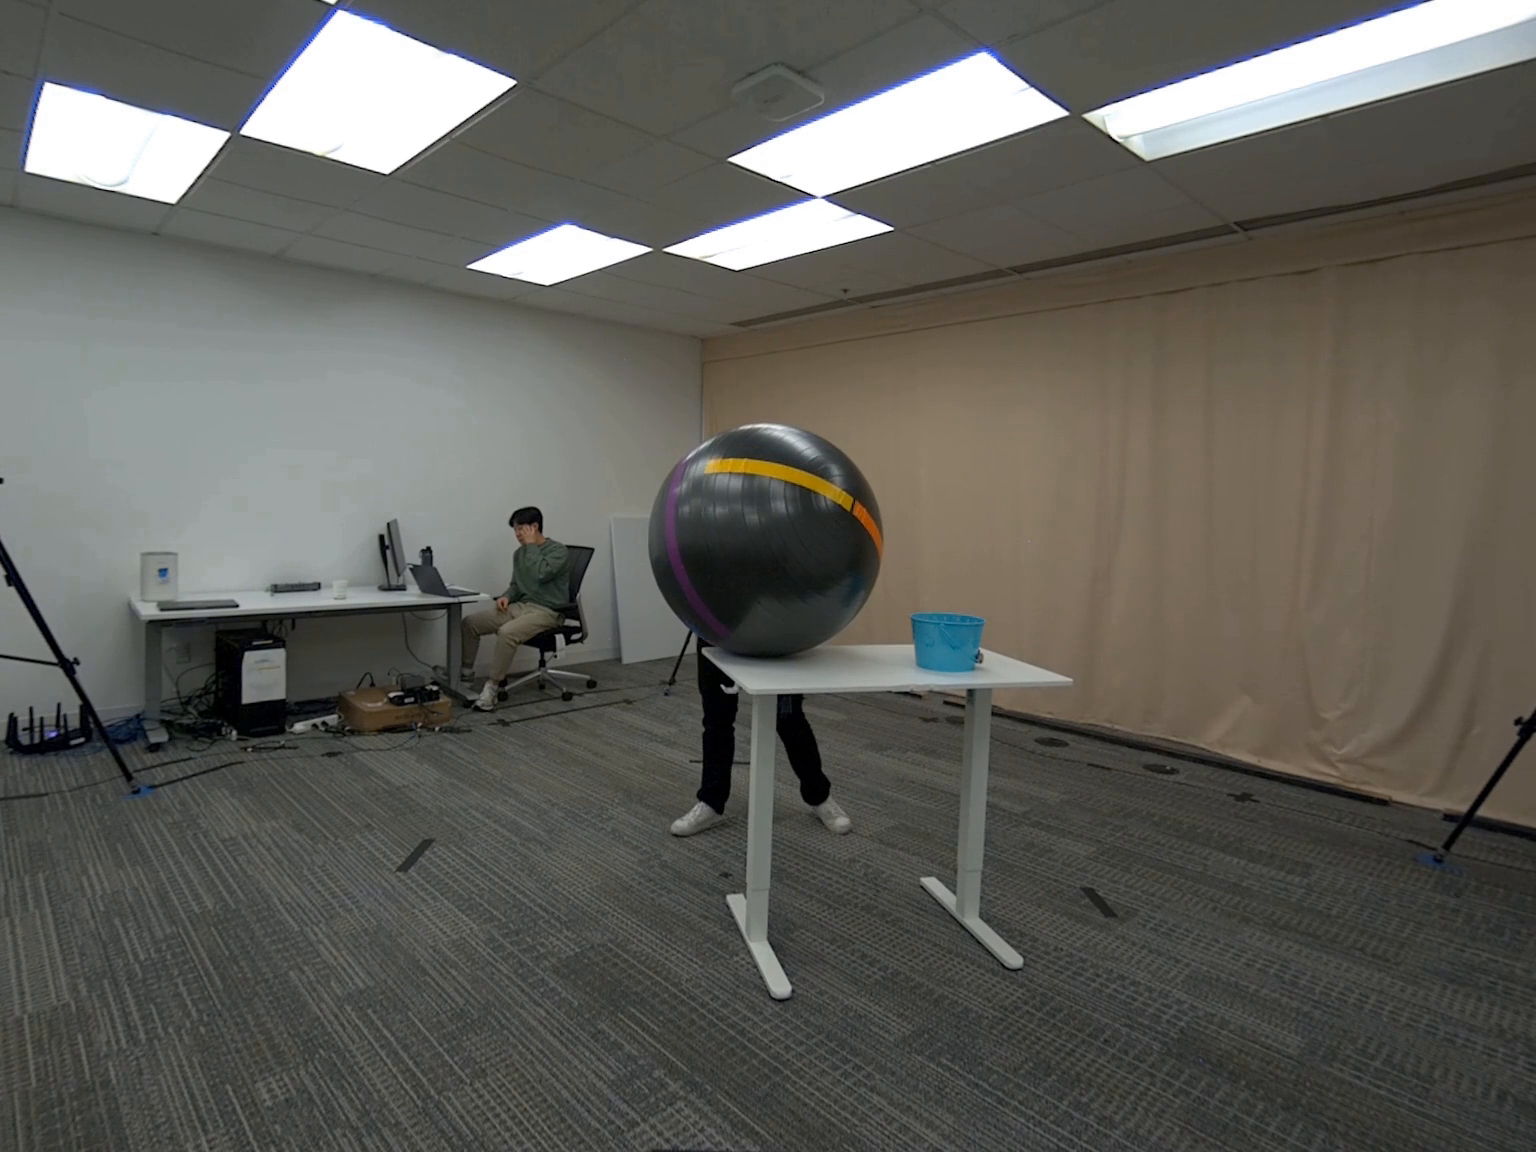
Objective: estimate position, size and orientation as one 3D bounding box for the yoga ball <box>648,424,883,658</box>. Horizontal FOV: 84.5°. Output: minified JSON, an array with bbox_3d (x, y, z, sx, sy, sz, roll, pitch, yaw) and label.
[{"bbox_3d":[-0.014,-0.106,2.738,0.757,0.756,0.760,1,4,-1],"label":"yoga ball"}]
